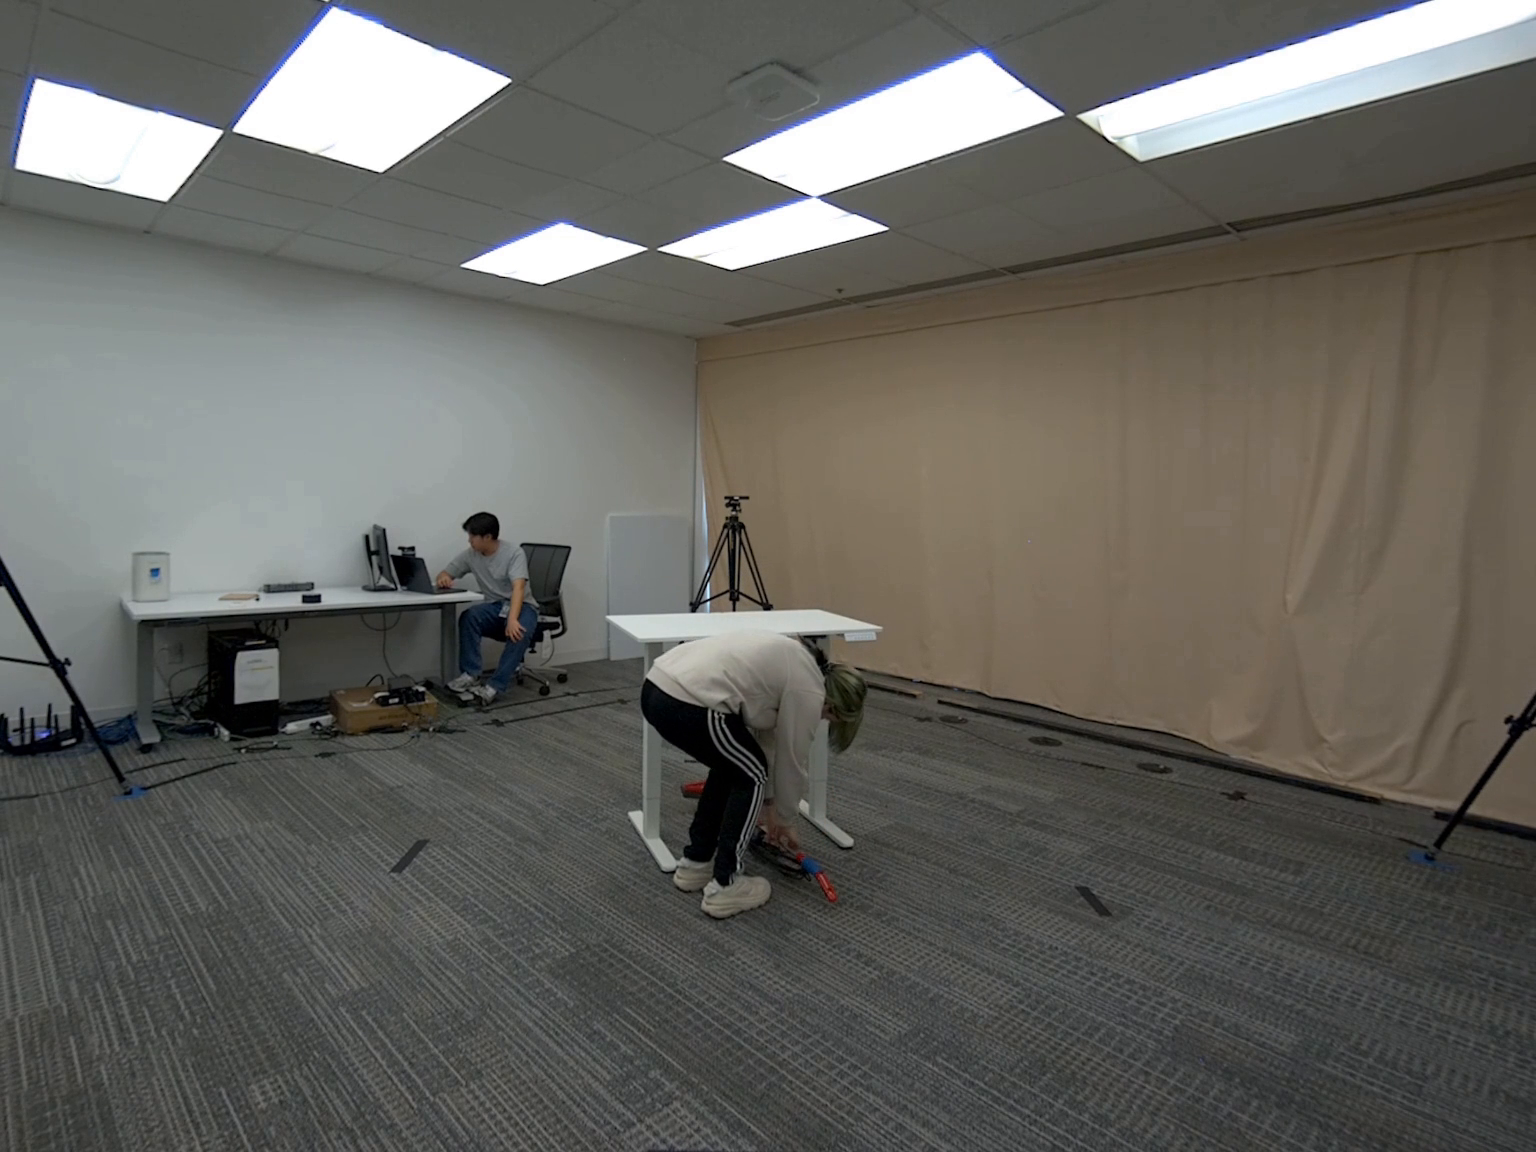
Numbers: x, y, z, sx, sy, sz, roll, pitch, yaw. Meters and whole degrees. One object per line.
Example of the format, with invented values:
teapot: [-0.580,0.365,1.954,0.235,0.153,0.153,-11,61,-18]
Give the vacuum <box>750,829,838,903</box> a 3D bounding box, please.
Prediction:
vacuum: [-0.017,1.032,3.295,0.248,0.143,1.072,2,5,-27]
